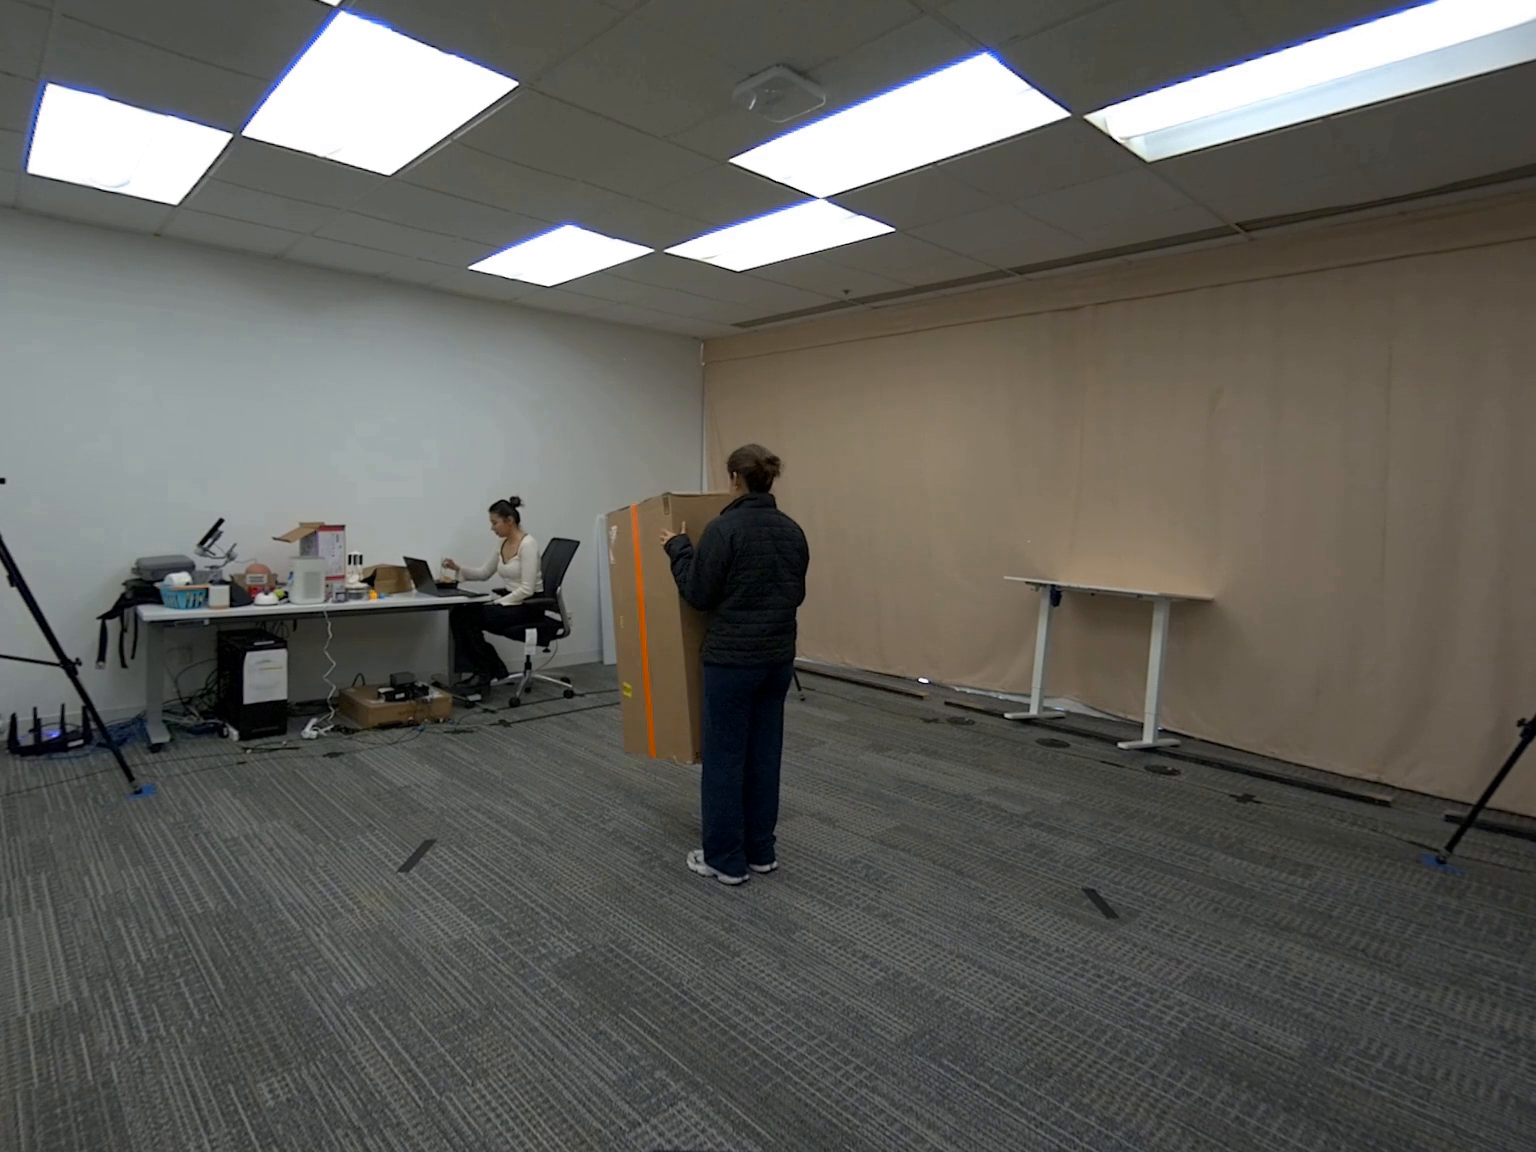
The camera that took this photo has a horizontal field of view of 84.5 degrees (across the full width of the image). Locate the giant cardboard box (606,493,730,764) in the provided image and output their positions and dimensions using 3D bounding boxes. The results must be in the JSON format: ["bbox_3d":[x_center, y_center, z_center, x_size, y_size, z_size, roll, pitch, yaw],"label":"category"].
[{"bbox_3d":[-0.335,0.208,3.476,0.417,1.030,0.587,-2,-6,-35],"label":"giant cardboard box"}]
